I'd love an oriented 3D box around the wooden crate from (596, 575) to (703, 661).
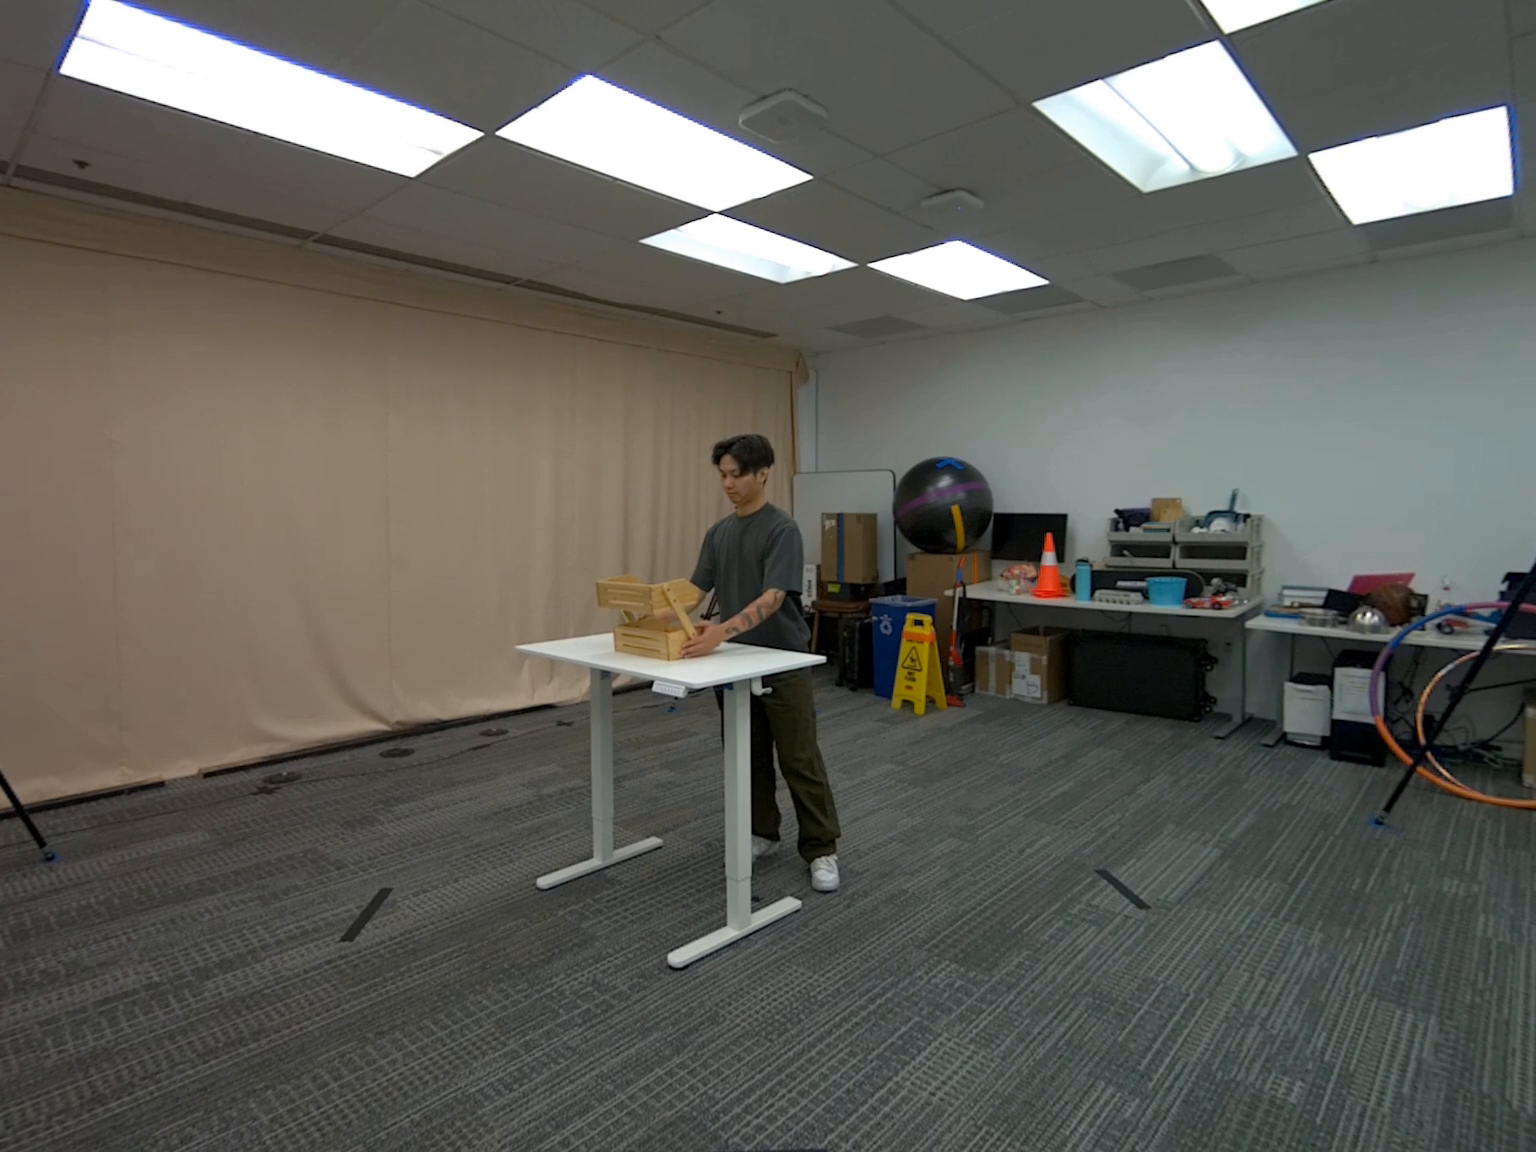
[{"bbox_3d":[-0.379,0.129,2.928,0.335,0.272,0.294,2,10,44],"label":"wooden crate"}]
